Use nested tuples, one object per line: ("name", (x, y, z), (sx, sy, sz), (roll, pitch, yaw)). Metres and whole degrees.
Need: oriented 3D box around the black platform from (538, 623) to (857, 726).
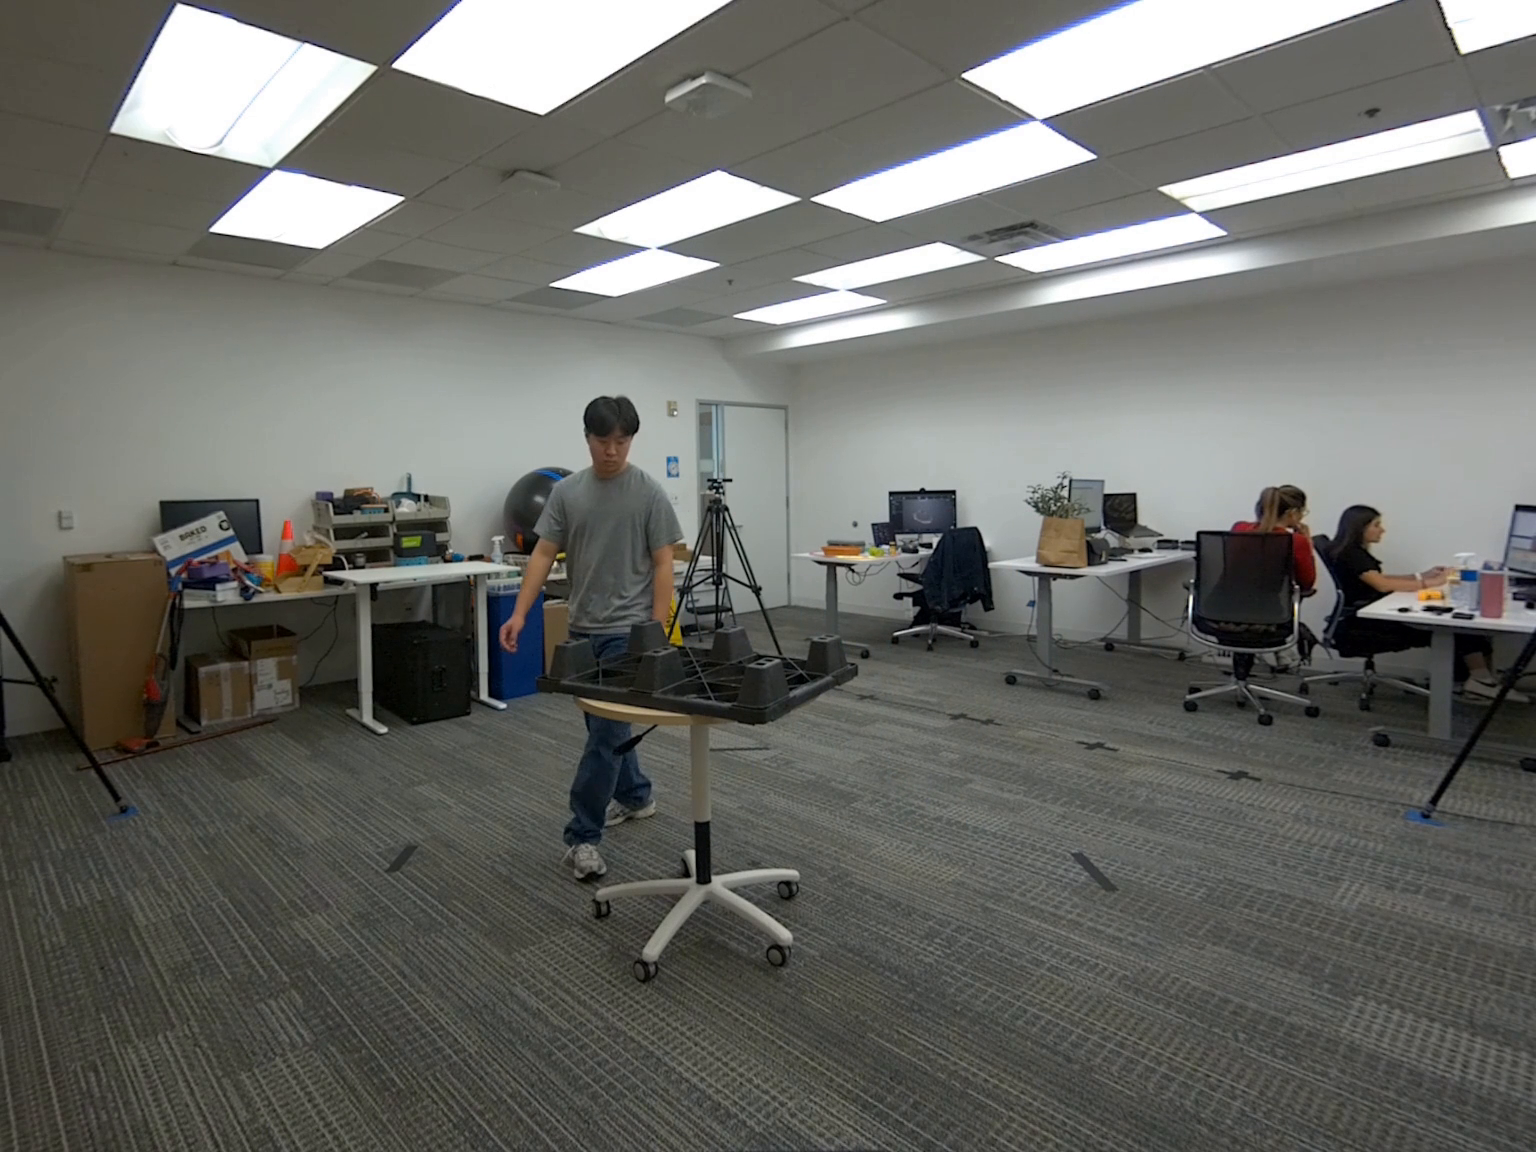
("black platform", (-0.201, 0.261, 2.590), (0.827, 0.142, 0.592), (2, 8, 31))
